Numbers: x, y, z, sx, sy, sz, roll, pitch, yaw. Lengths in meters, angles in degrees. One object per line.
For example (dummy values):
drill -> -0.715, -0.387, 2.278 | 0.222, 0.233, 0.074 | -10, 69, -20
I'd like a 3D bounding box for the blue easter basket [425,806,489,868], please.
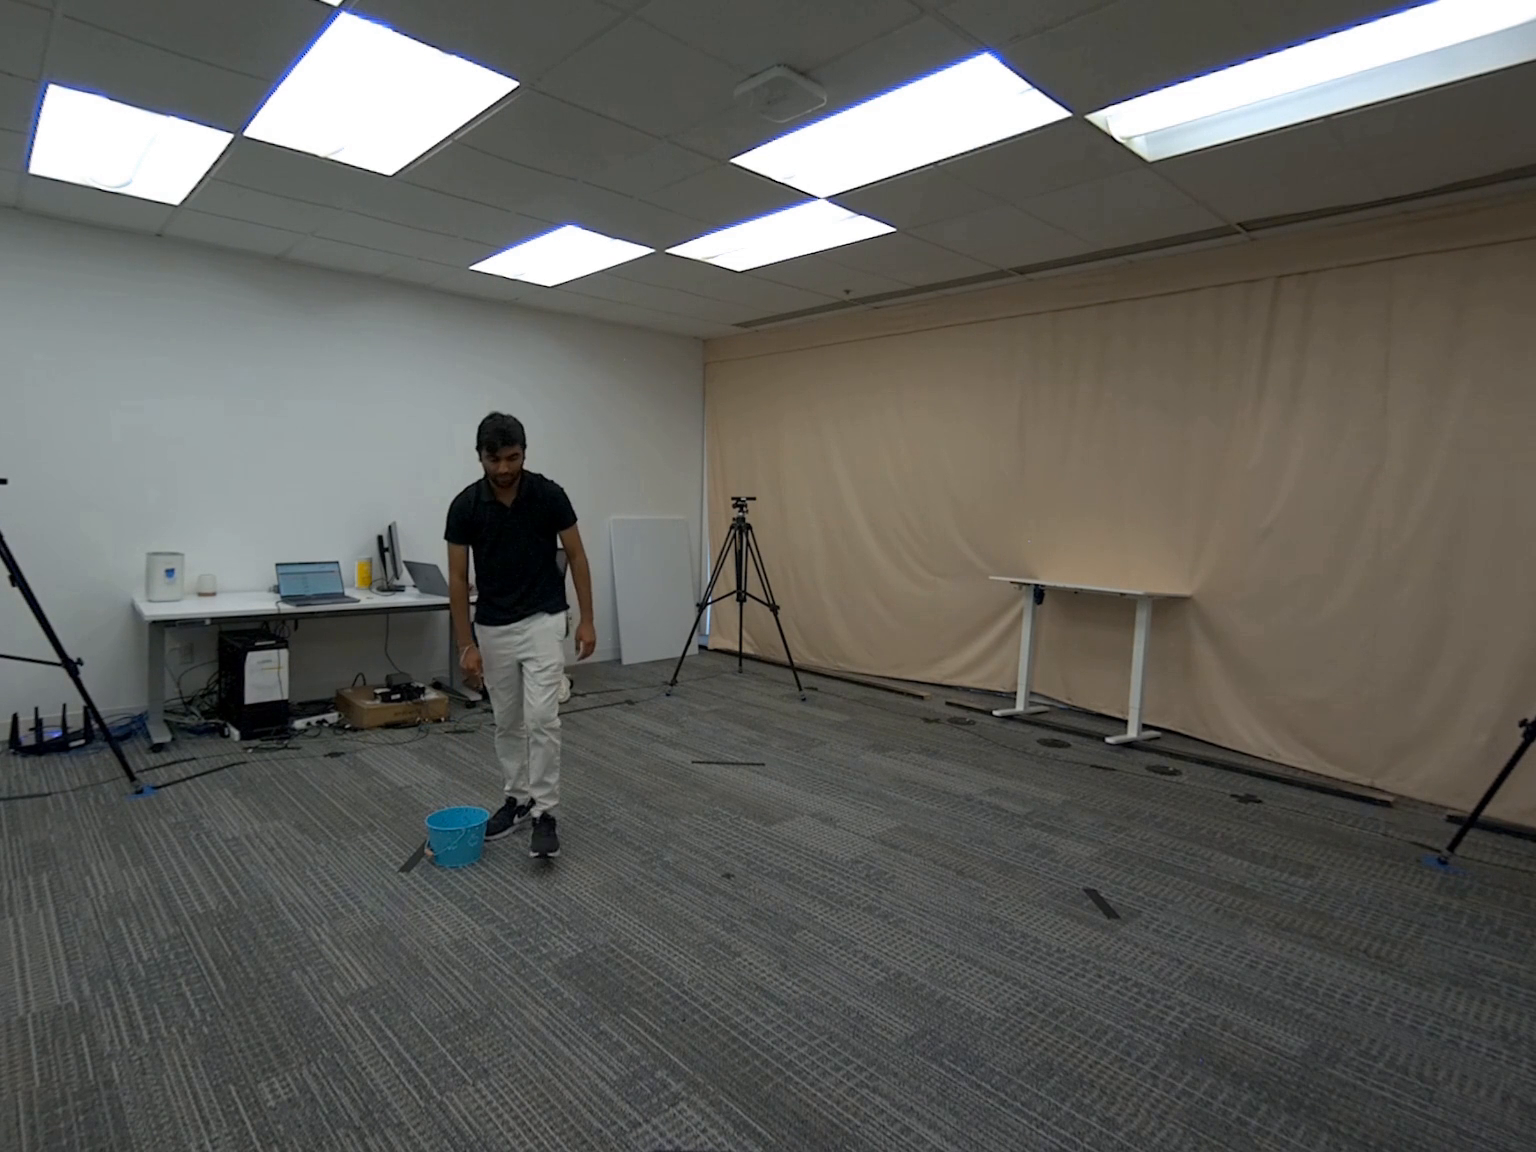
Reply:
blue easter basket -> -1.188, 0.997, 3.217 | 0.243, 0.155, 0.244 | 2, 4, -2
